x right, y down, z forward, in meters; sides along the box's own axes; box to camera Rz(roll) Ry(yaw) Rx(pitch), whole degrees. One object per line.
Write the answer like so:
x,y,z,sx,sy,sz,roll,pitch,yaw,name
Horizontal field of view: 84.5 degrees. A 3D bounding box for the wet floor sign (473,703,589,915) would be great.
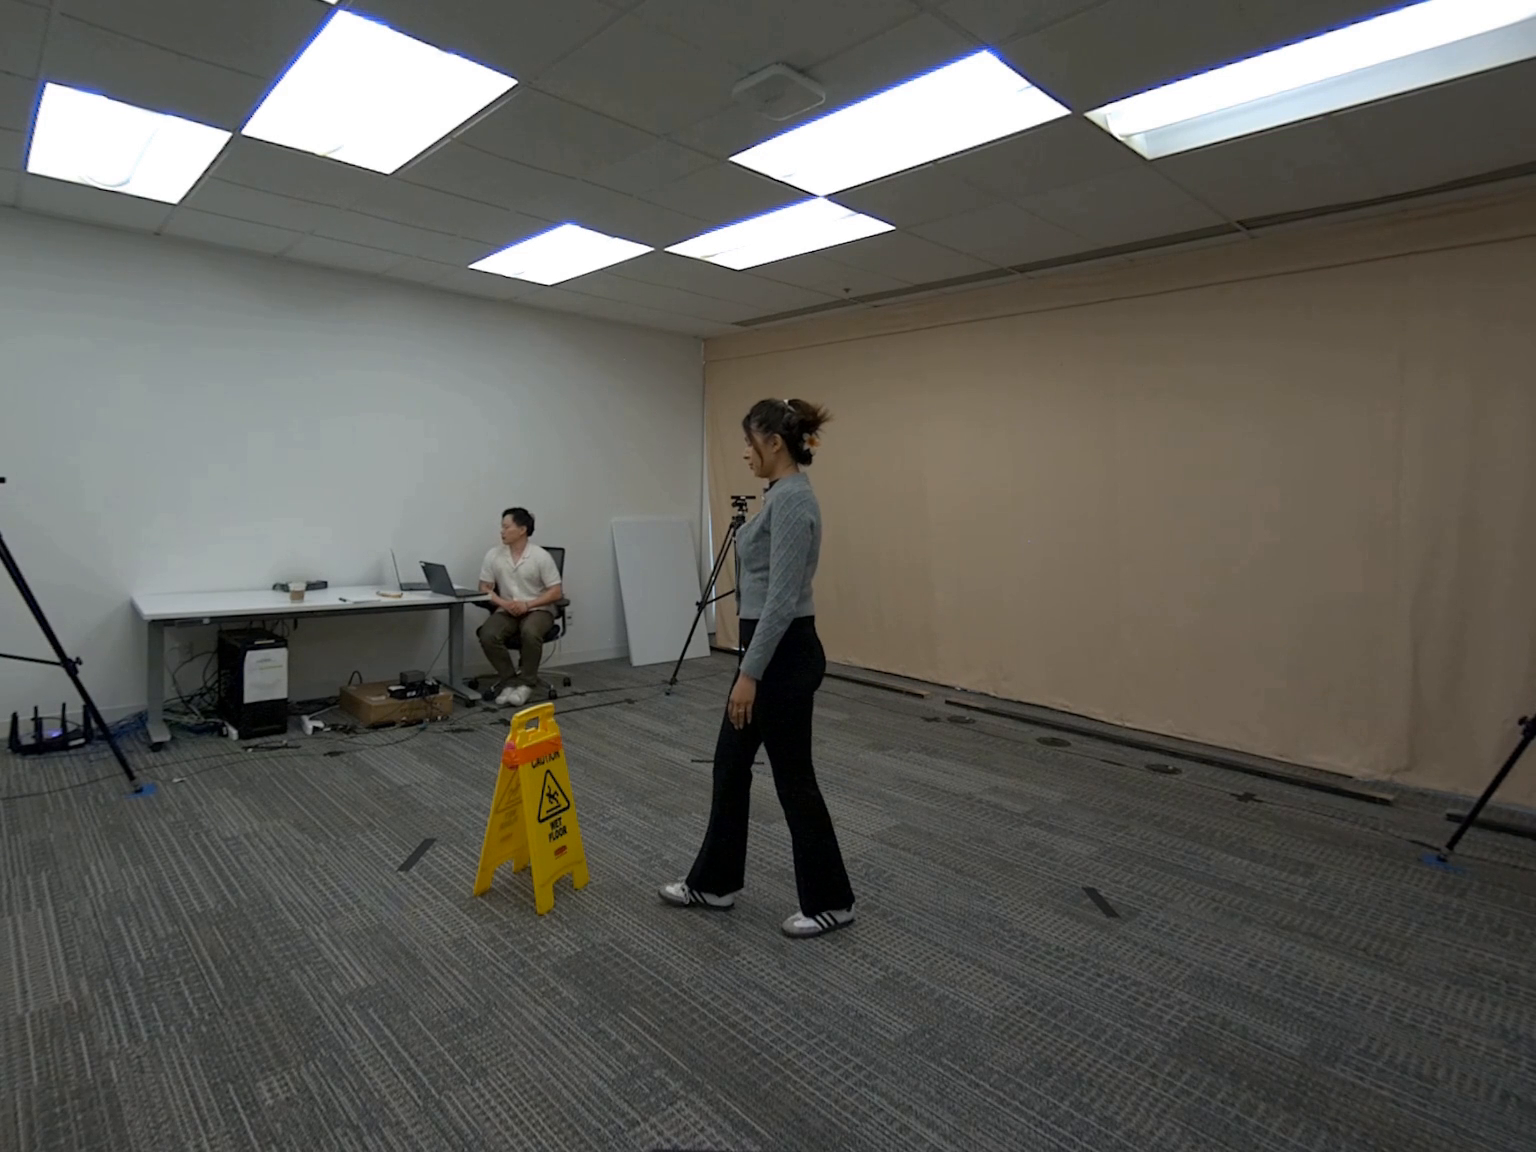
-0.830,0.782,2.938,0.295,0.645,0.277,2,3,25,wet floor sign
